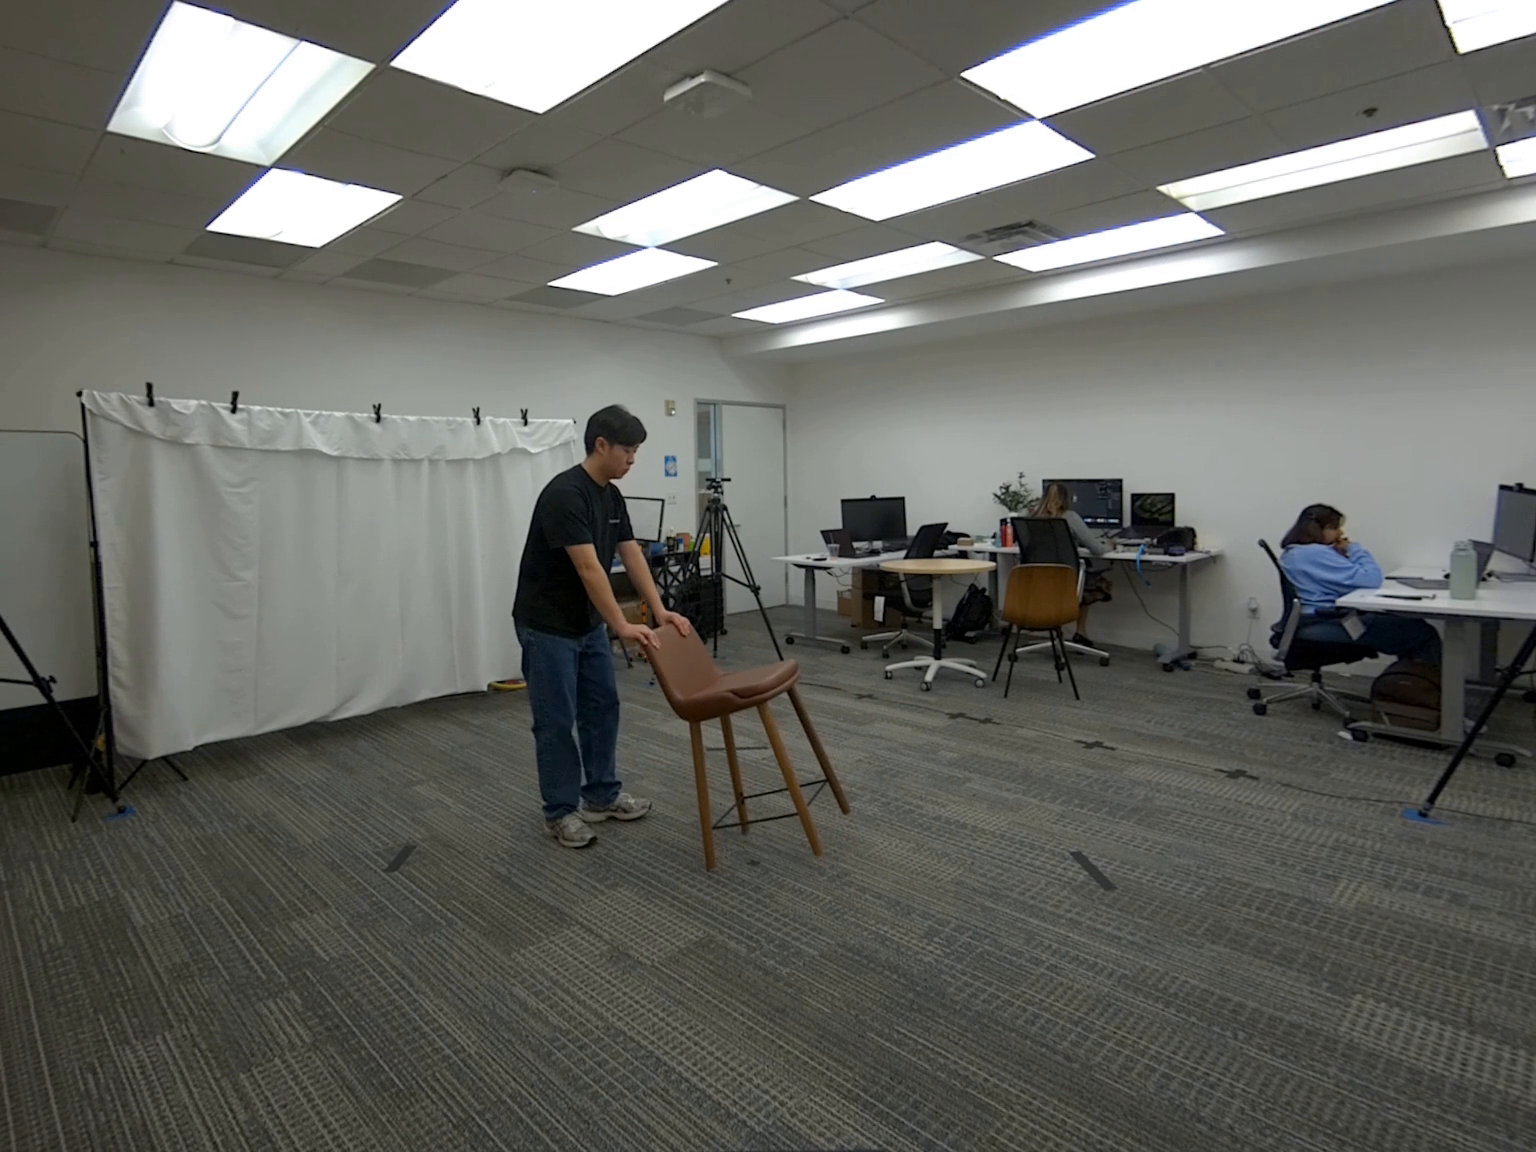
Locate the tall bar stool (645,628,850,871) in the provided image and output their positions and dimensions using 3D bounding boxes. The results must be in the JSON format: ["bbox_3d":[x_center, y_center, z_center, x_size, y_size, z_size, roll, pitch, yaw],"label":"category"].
[{"bbox_3d":[-0.087,0.560,3.160,0.474,0.894,0.448,-20,-4,23],"label":"tall bar stool"}]
